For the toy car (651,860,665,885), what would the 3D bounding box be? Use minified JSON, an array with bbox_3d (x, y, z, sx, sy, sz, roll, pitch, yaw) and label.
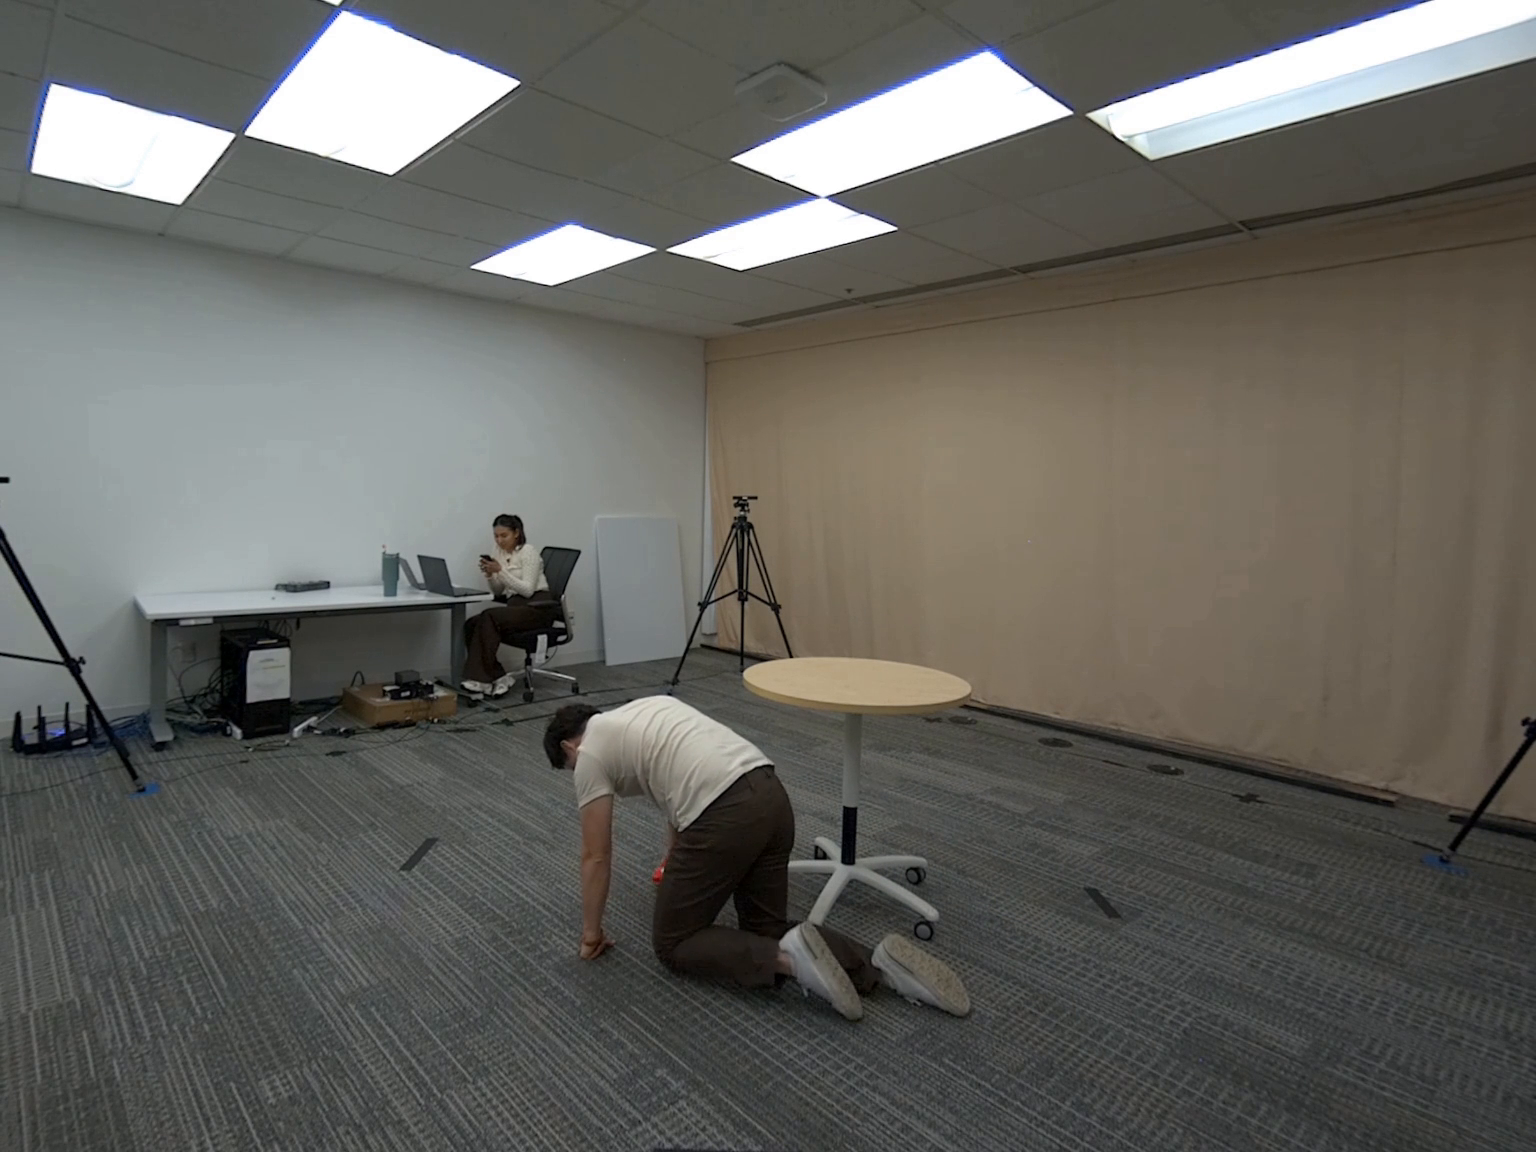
[{"bbox_3d":[-0.340,1.081,3.055,0.132,0.083,0.249,3,-5,21],"label":"toy car"}]
